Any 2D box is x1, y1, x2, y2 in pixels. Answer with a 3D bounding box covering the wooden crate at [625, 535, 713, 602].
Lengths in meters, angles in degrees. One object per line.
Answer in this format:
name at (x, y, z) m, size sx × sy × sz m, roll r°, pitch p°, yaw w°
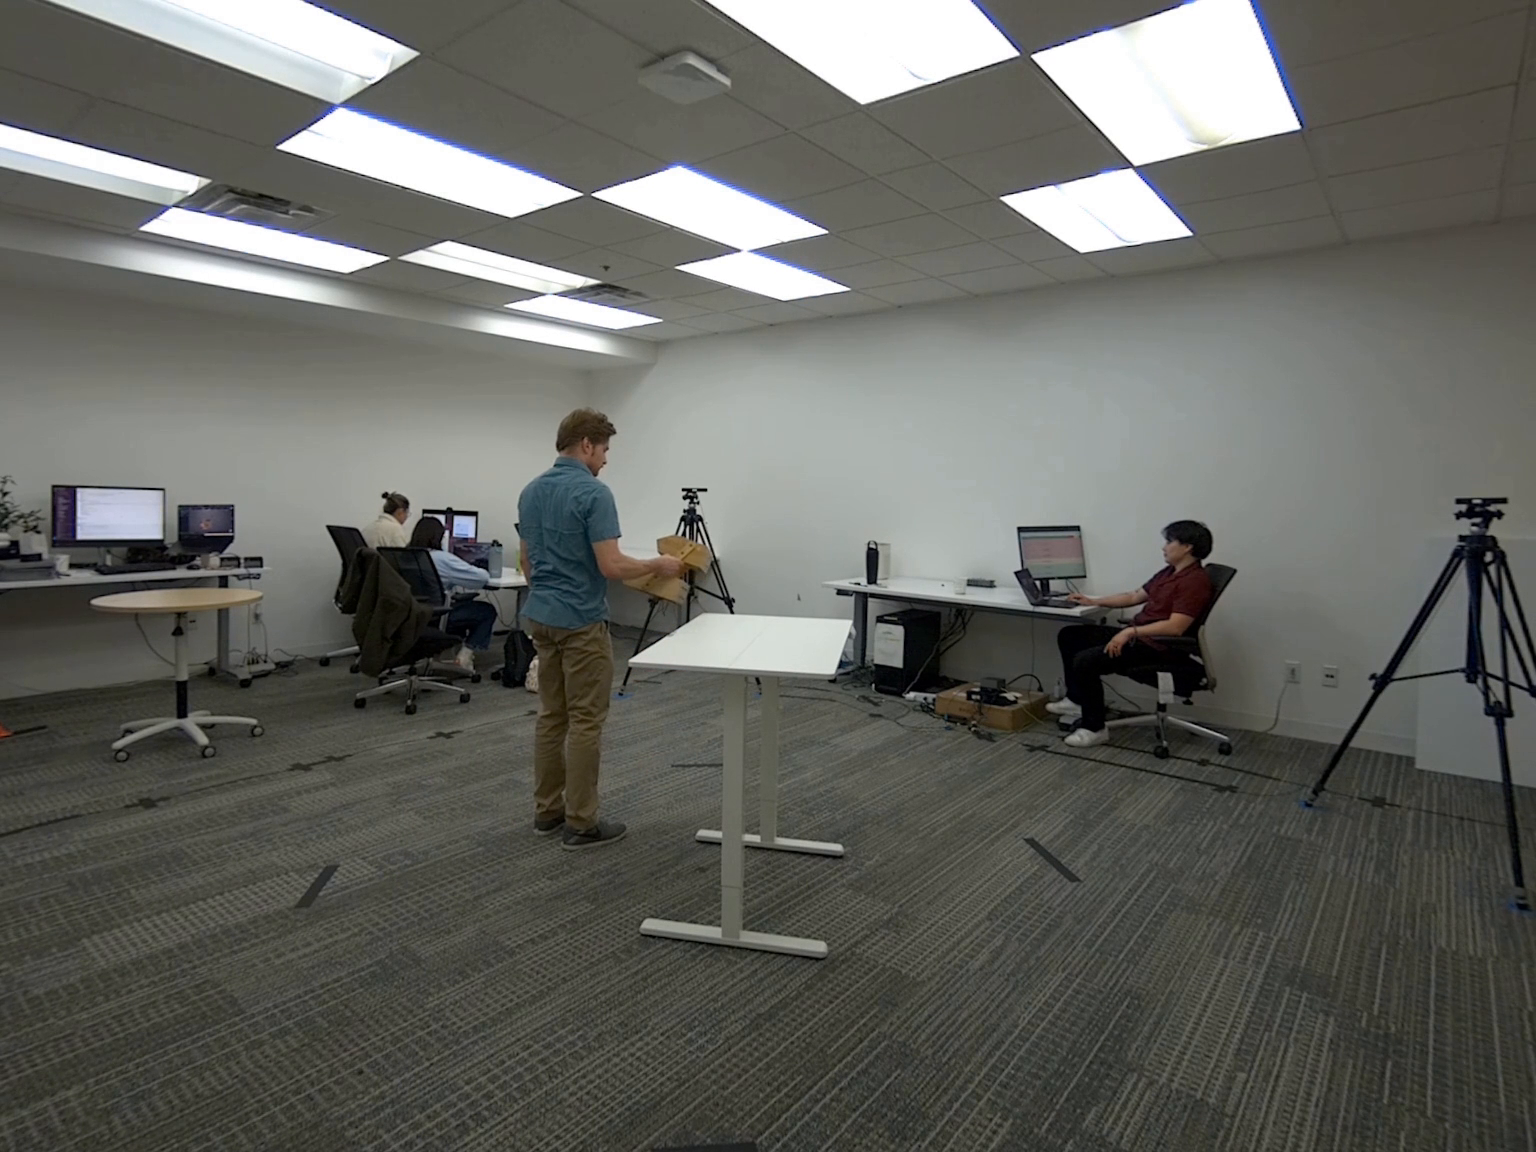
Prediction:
wooden crate at (-0.454, -0.043, 3.659) m, size 0.304 × 0.274 × 0.322 m, roll 19°, pitch -3°, yaw 4°
